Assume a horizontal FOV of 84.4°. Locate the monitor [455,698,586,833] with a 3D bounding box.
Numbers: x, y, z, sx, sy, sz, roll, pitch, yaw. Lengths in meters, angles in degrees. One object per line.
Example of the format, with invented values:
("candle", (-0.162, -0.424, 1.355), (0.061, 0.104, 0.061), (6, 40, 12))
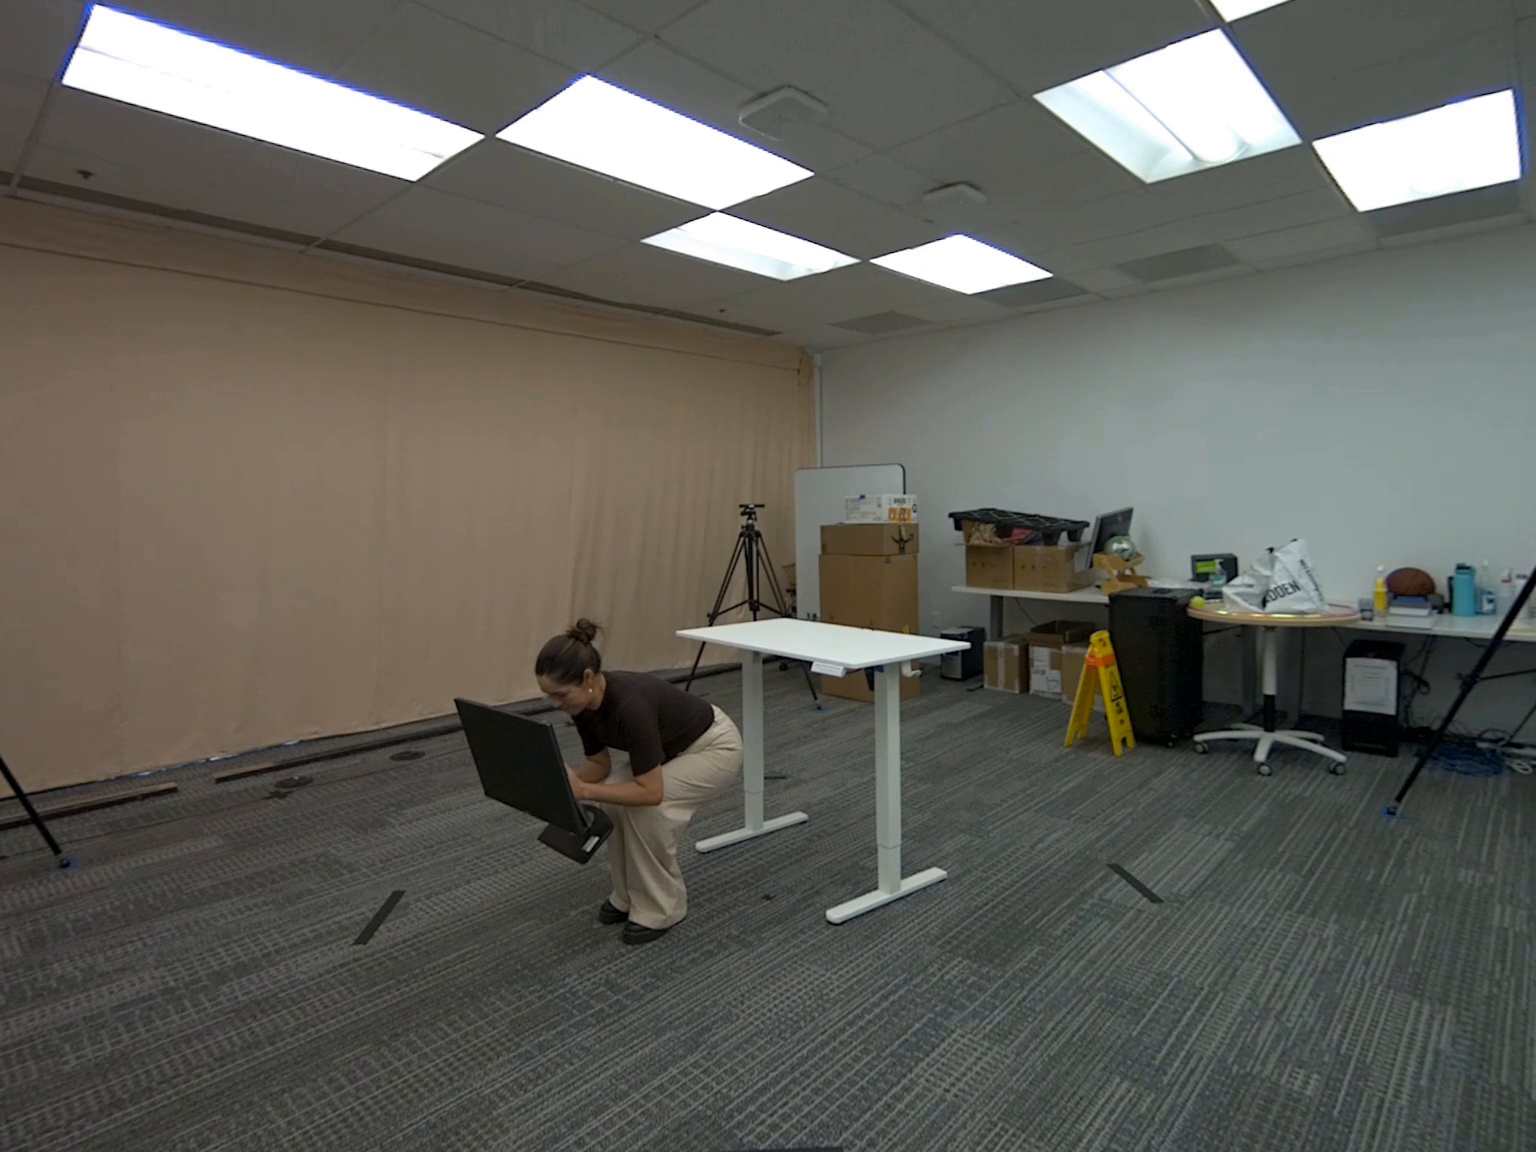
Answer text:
("monitor", (-0.701, 0.618, 2.586), (0.556, 0.511, 0.185), (0, 34, 42))
